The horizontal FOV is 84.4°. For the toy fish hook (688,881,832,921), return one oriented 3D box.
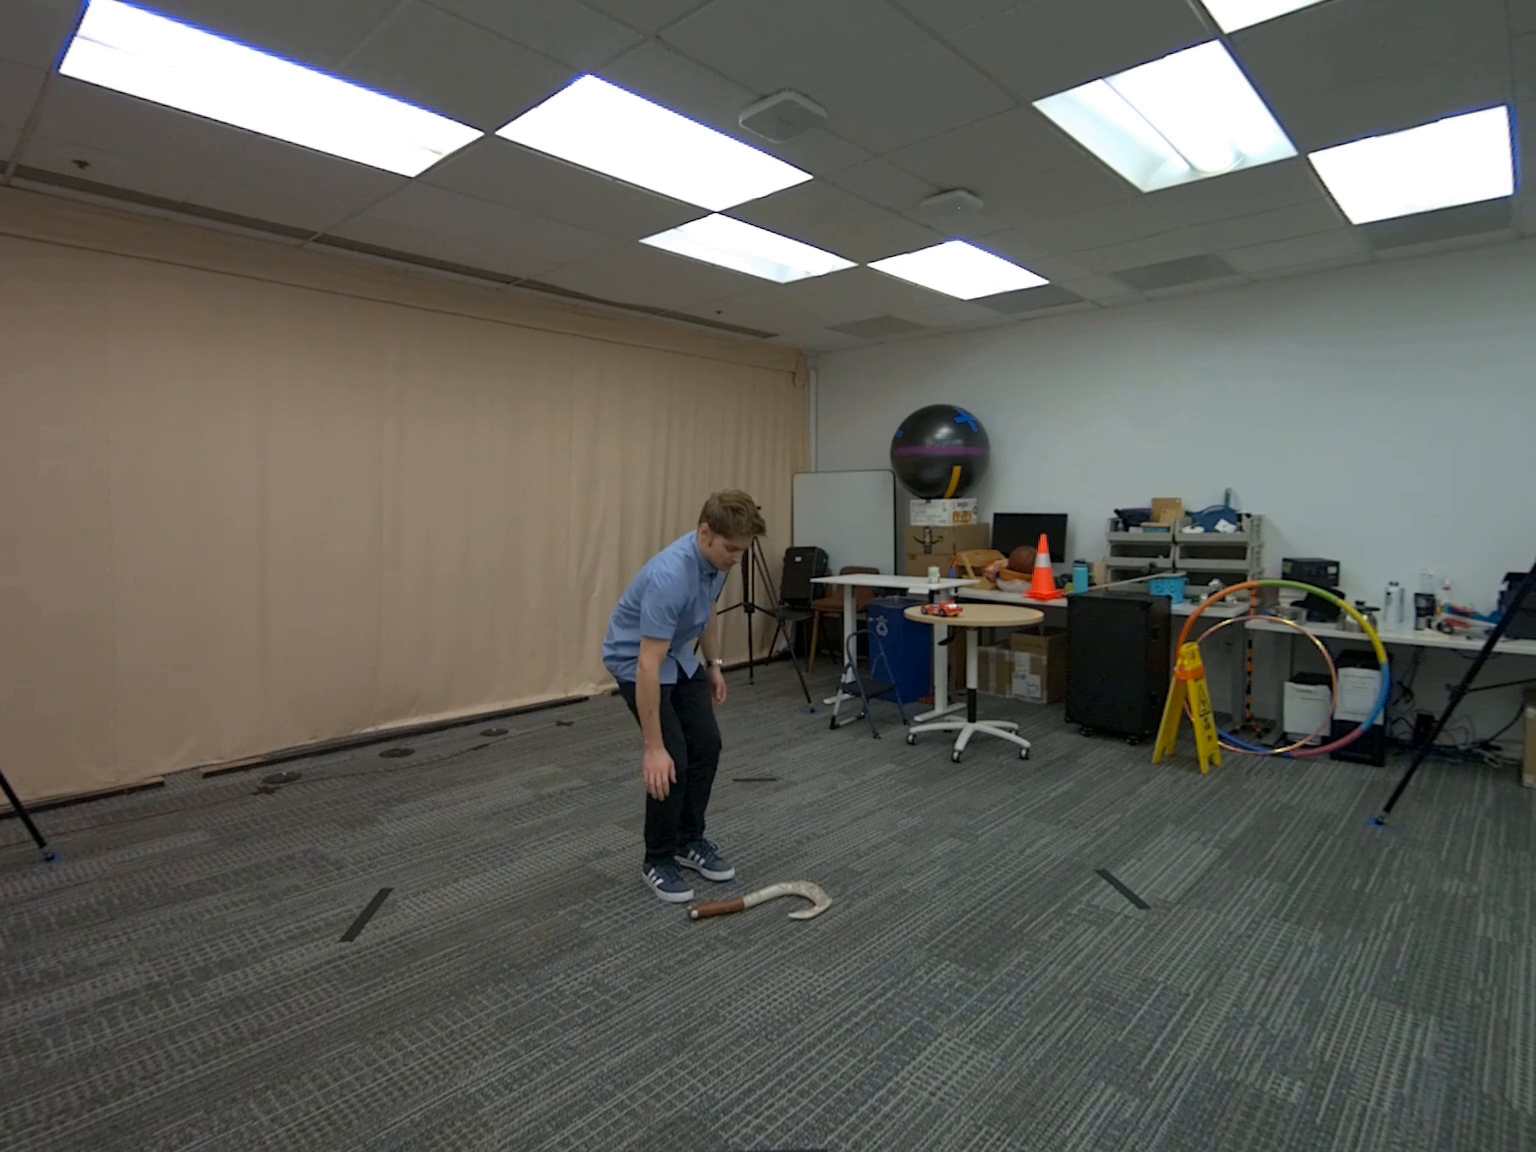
[{"bbox_3d":[-0.020,1.131,2.878,0.495,0.048,0.230,-2,4,-25],"label":"toy fish hook"}]
